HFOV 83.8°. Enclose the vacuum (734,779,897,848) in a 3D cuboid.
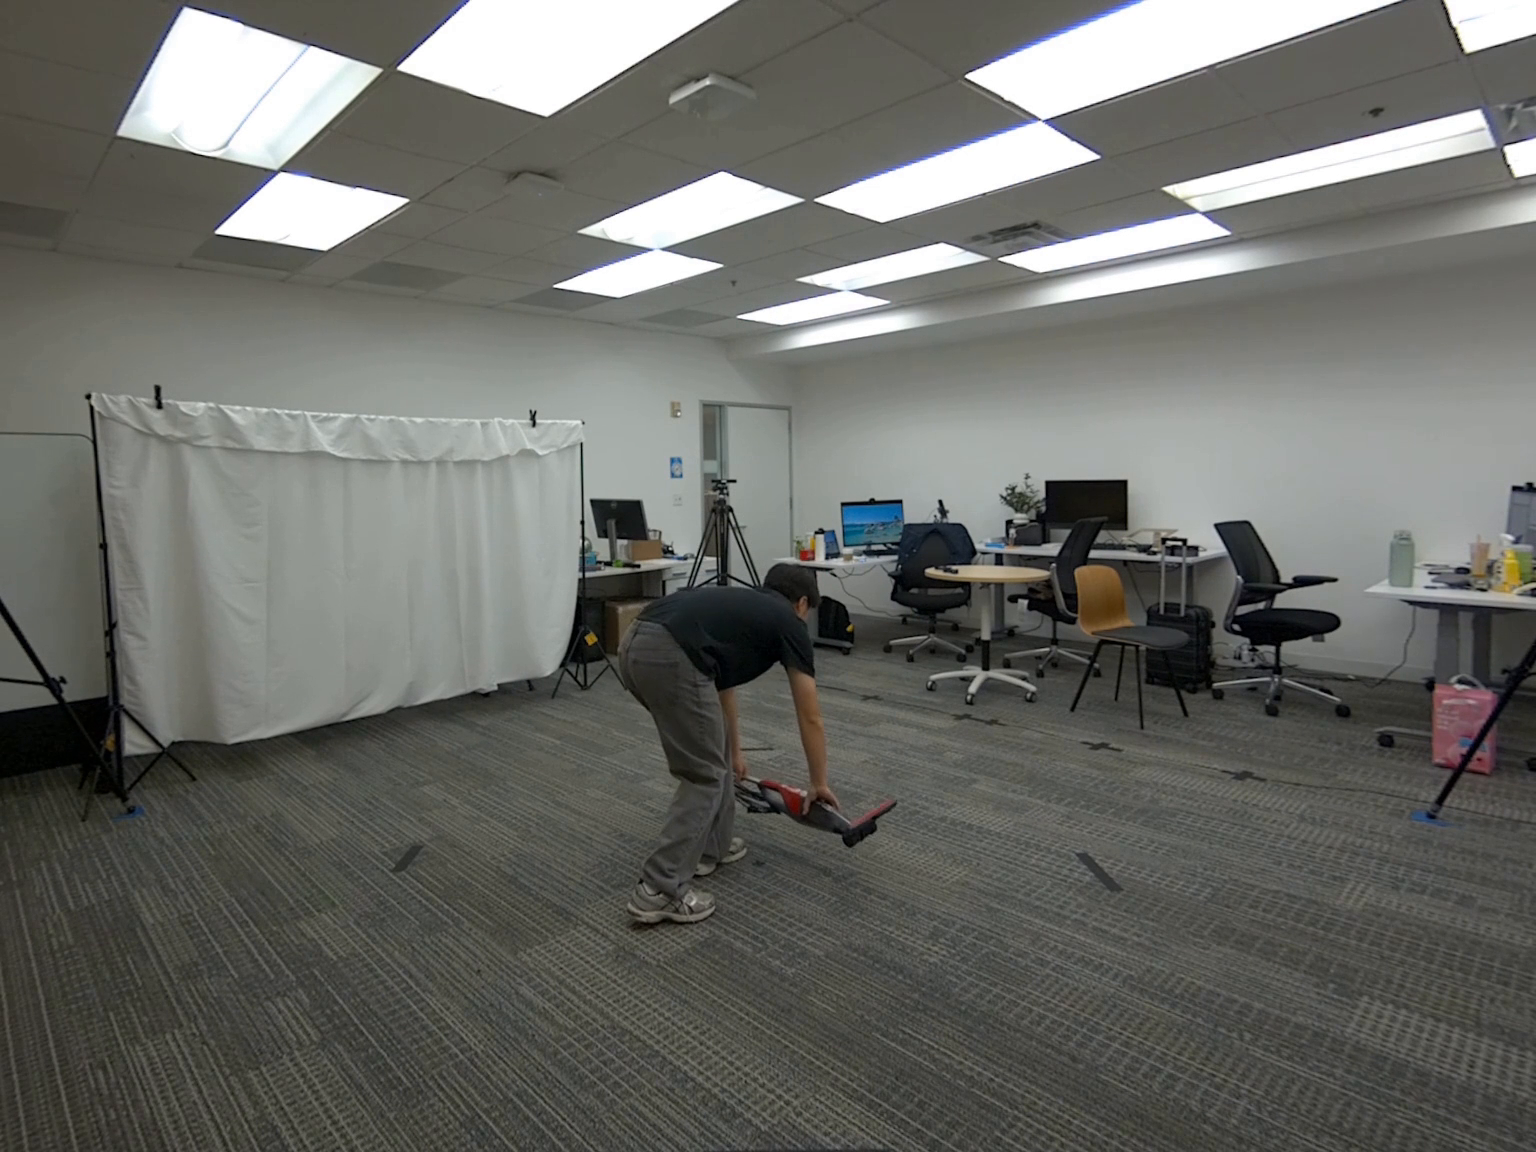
[{"bbox_3d":[-0.014,0.858,3.348,0.247,0.143,1.079,-16,11,-40],"label":"vacuum"}]
